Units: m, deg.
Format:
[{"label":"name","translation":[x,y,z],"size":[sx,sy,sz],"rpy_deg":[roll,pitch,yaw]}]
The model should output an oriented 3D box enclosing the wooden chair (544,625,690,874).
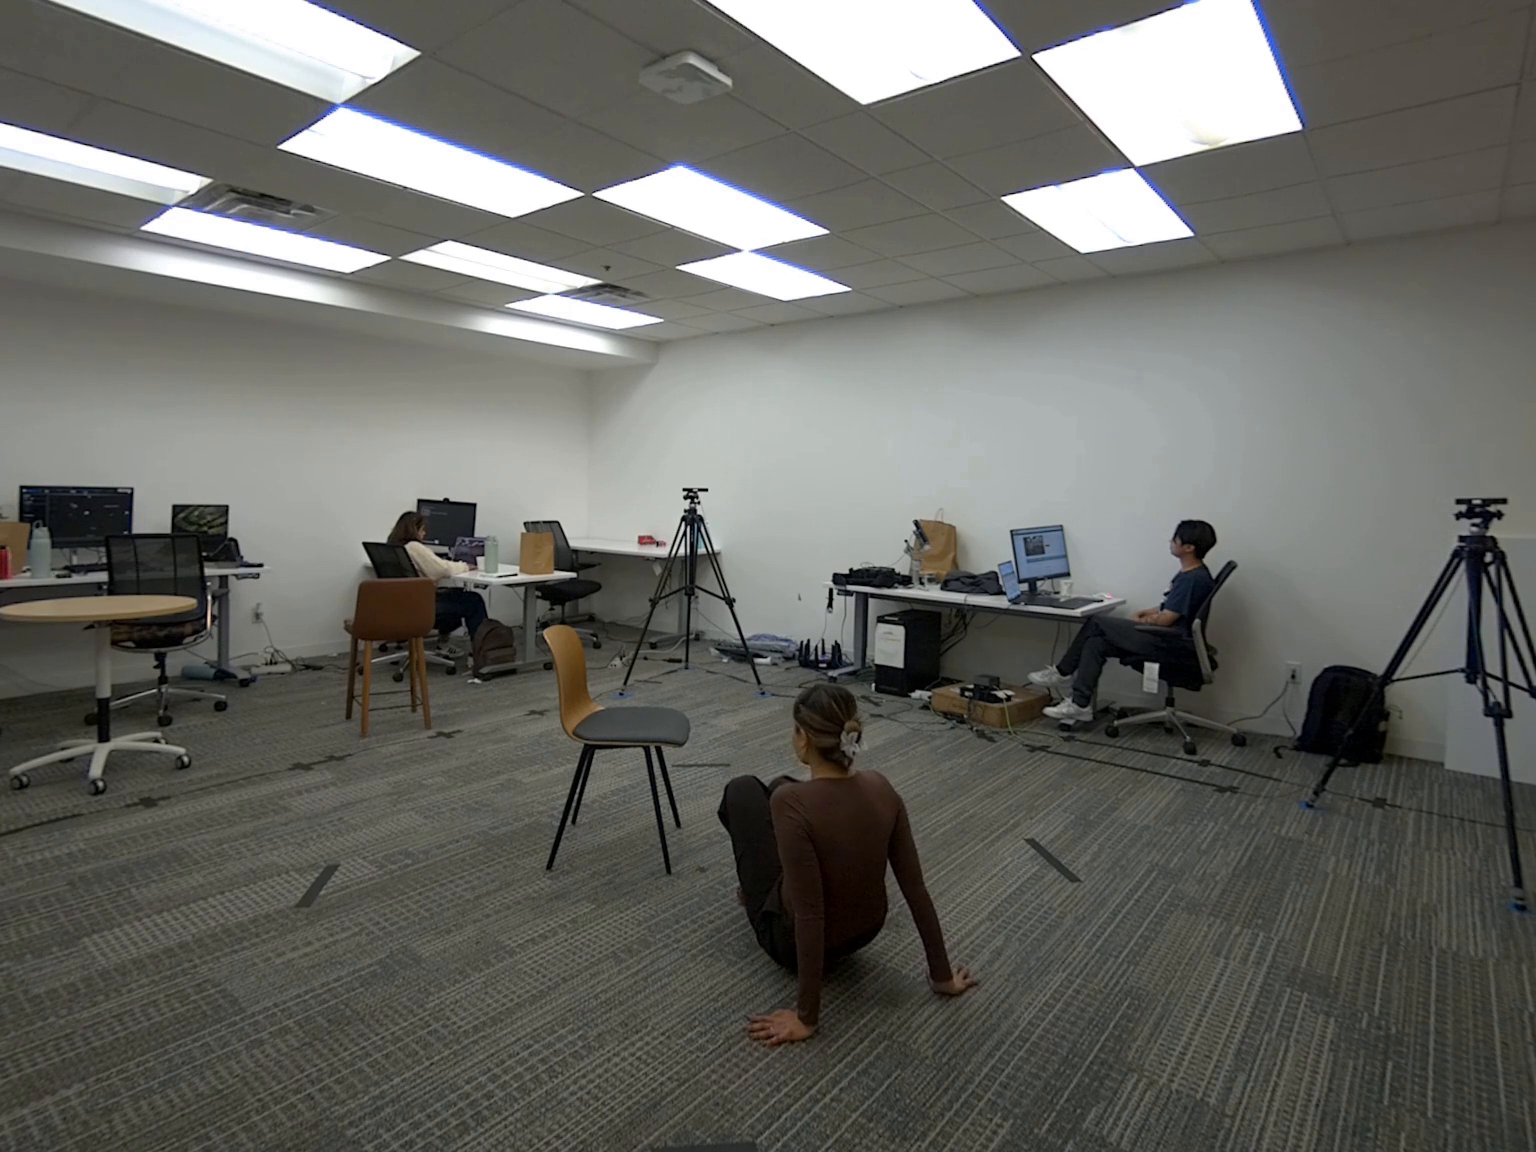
[{"label":"wooden chair","translation":[-0.575,0.621,3.266],"size":[0.524,0.875,0.478],"rpy_deg":[-3,2,1]}]
